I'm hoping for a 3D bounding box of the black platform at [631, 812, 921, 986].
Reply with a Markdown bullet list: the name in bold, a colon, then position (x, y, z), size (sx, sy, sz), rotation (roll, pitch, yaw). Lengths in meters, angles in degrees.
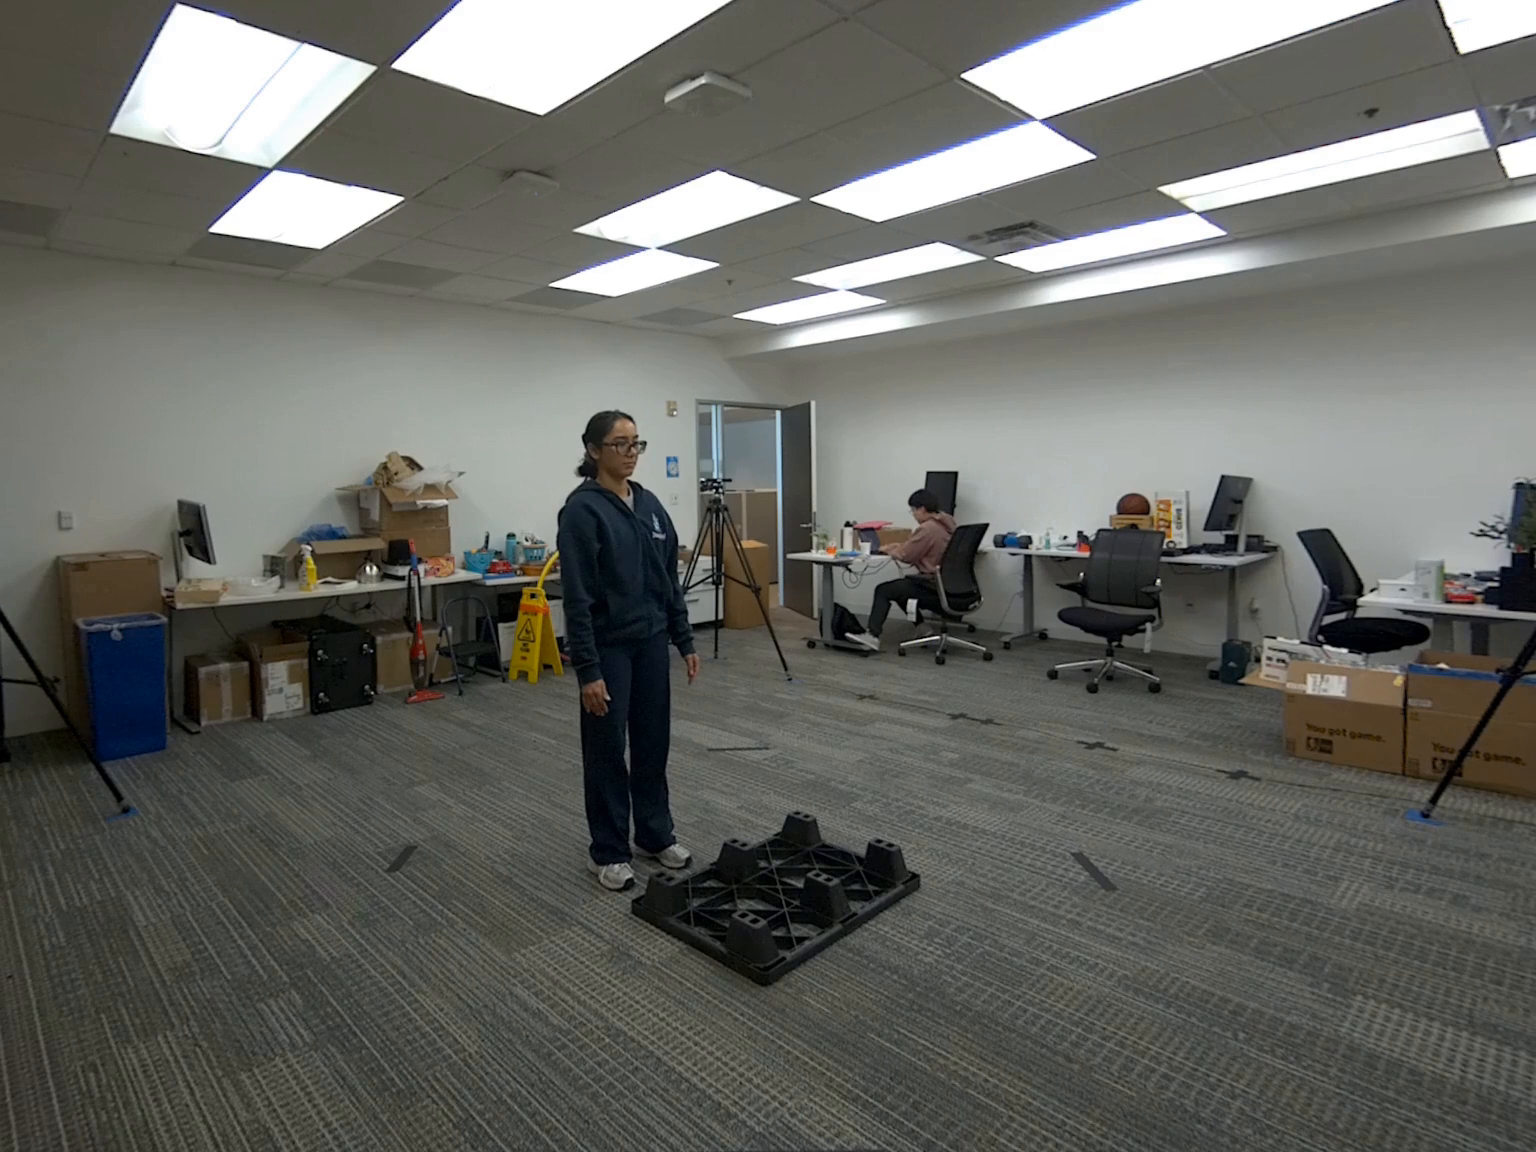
- **black platform**: position (0.040, 1.009, 2.826), size (0.624, 0.143, 0.785), rotation (4, 9, 43)
